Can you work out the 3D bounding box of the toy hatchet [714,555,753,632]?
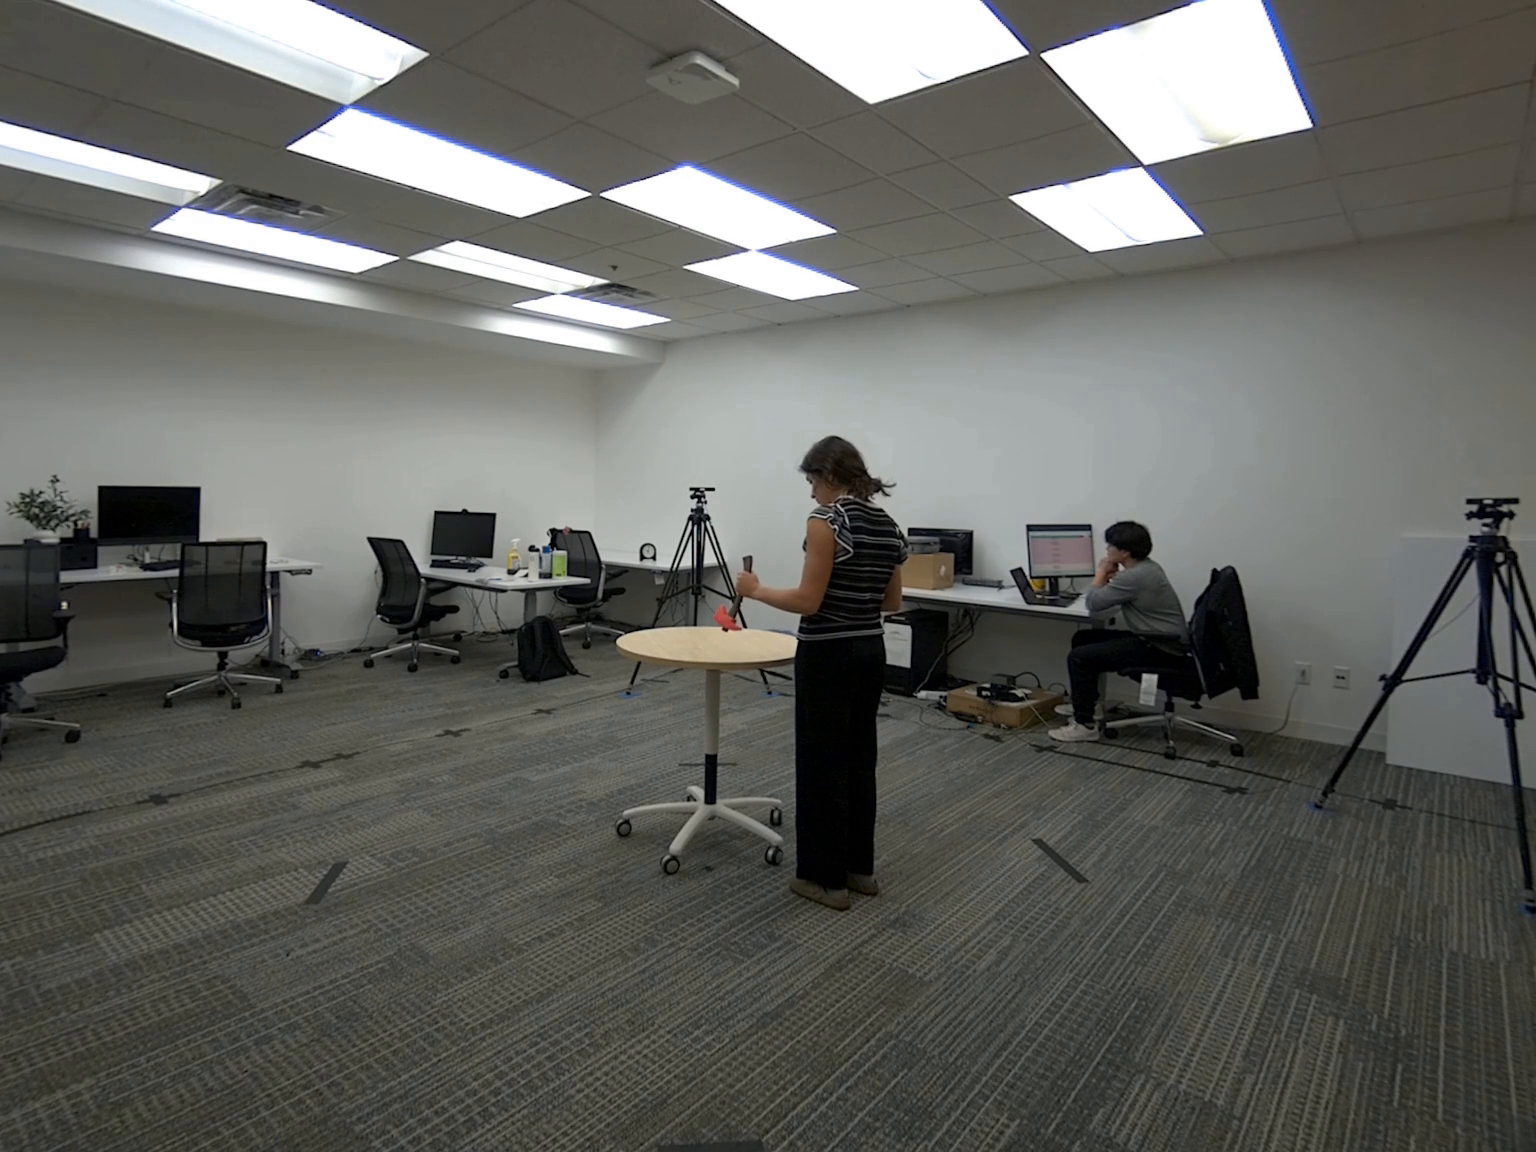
[{"bbox_3d":[-0.133,0.056,2.952,0.135,0.273,0.028,-4,-22,39],"label":"toy hatchet"}]
